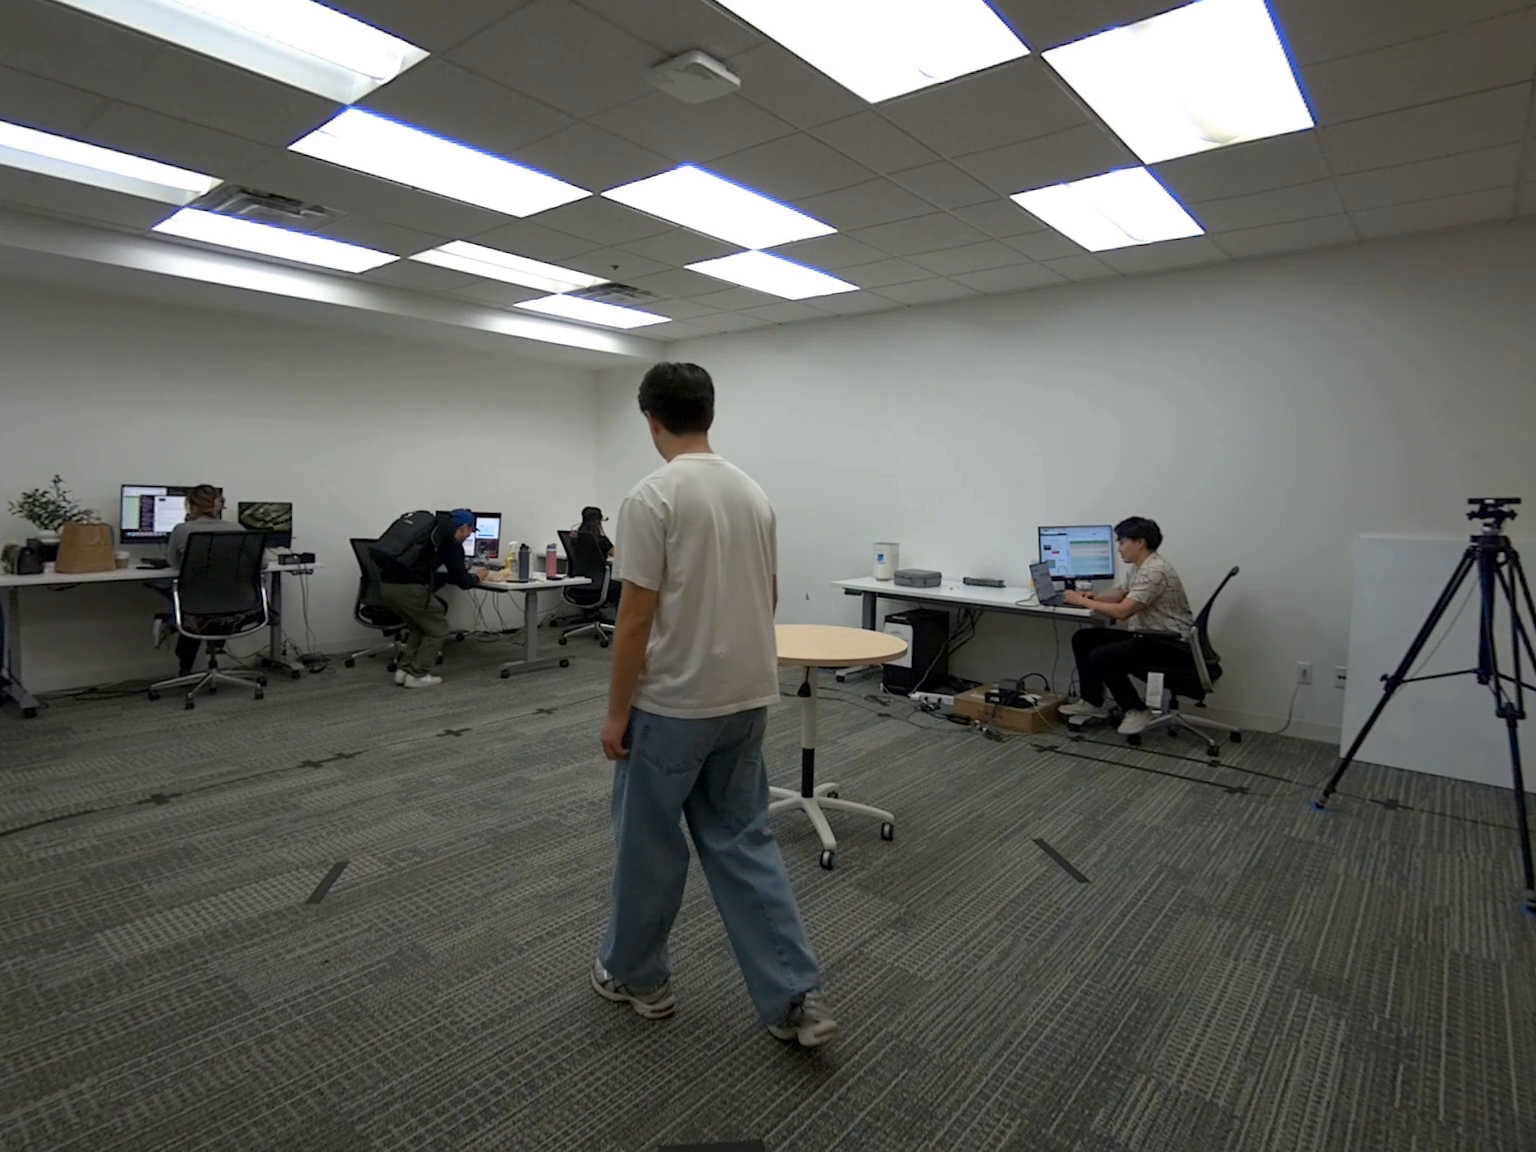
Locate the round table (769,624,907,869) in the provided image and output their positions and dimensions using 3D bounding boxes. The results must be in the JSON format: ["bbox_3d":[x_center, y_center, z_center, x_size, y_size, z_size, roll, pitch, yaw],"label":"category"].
[{"bbox_3d":[0.153,0.649,3.467,0.763,0.791,0.768,1,4,-2],"label":"round table"}]
